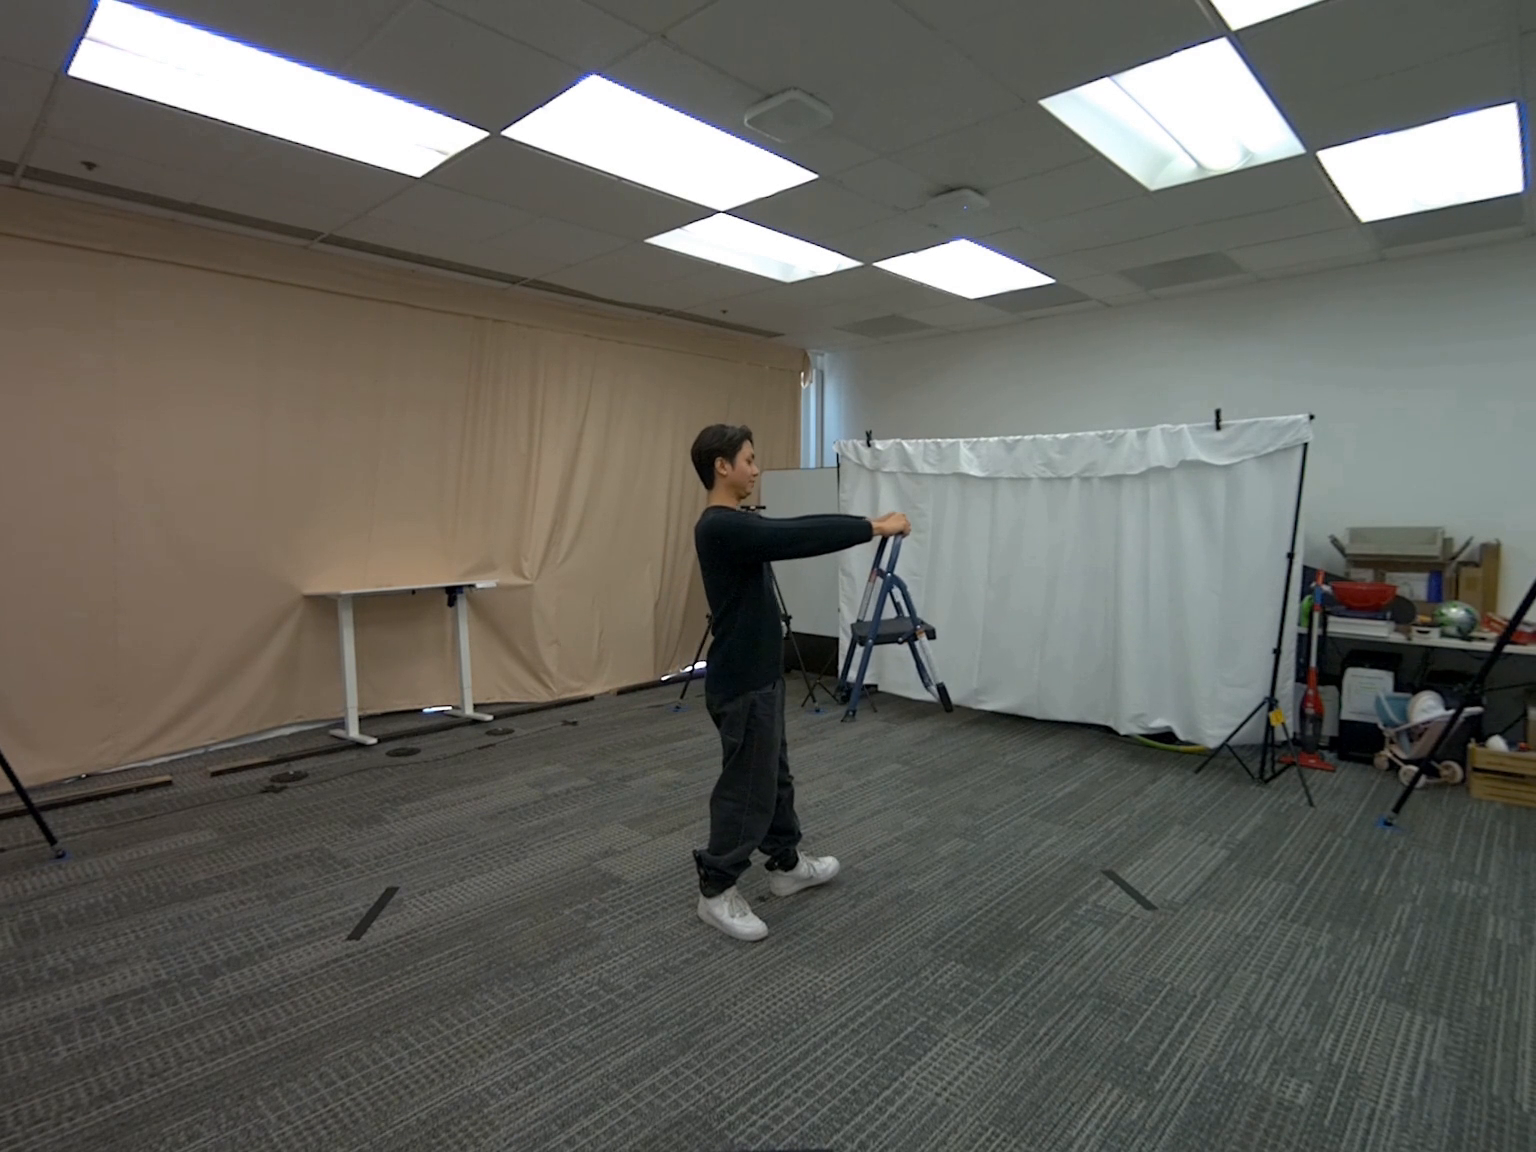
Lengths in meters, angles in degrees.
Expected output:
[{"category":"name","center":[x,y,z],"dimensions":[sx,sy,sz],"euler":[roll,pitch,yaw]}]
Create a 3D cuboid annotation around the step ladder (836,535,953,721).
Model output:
[{"category":"step ladder","center":[0.384,0.134,2.803],"dimensions":[0.350,0.606,0.429],"euler":[-6,0,2]}]
